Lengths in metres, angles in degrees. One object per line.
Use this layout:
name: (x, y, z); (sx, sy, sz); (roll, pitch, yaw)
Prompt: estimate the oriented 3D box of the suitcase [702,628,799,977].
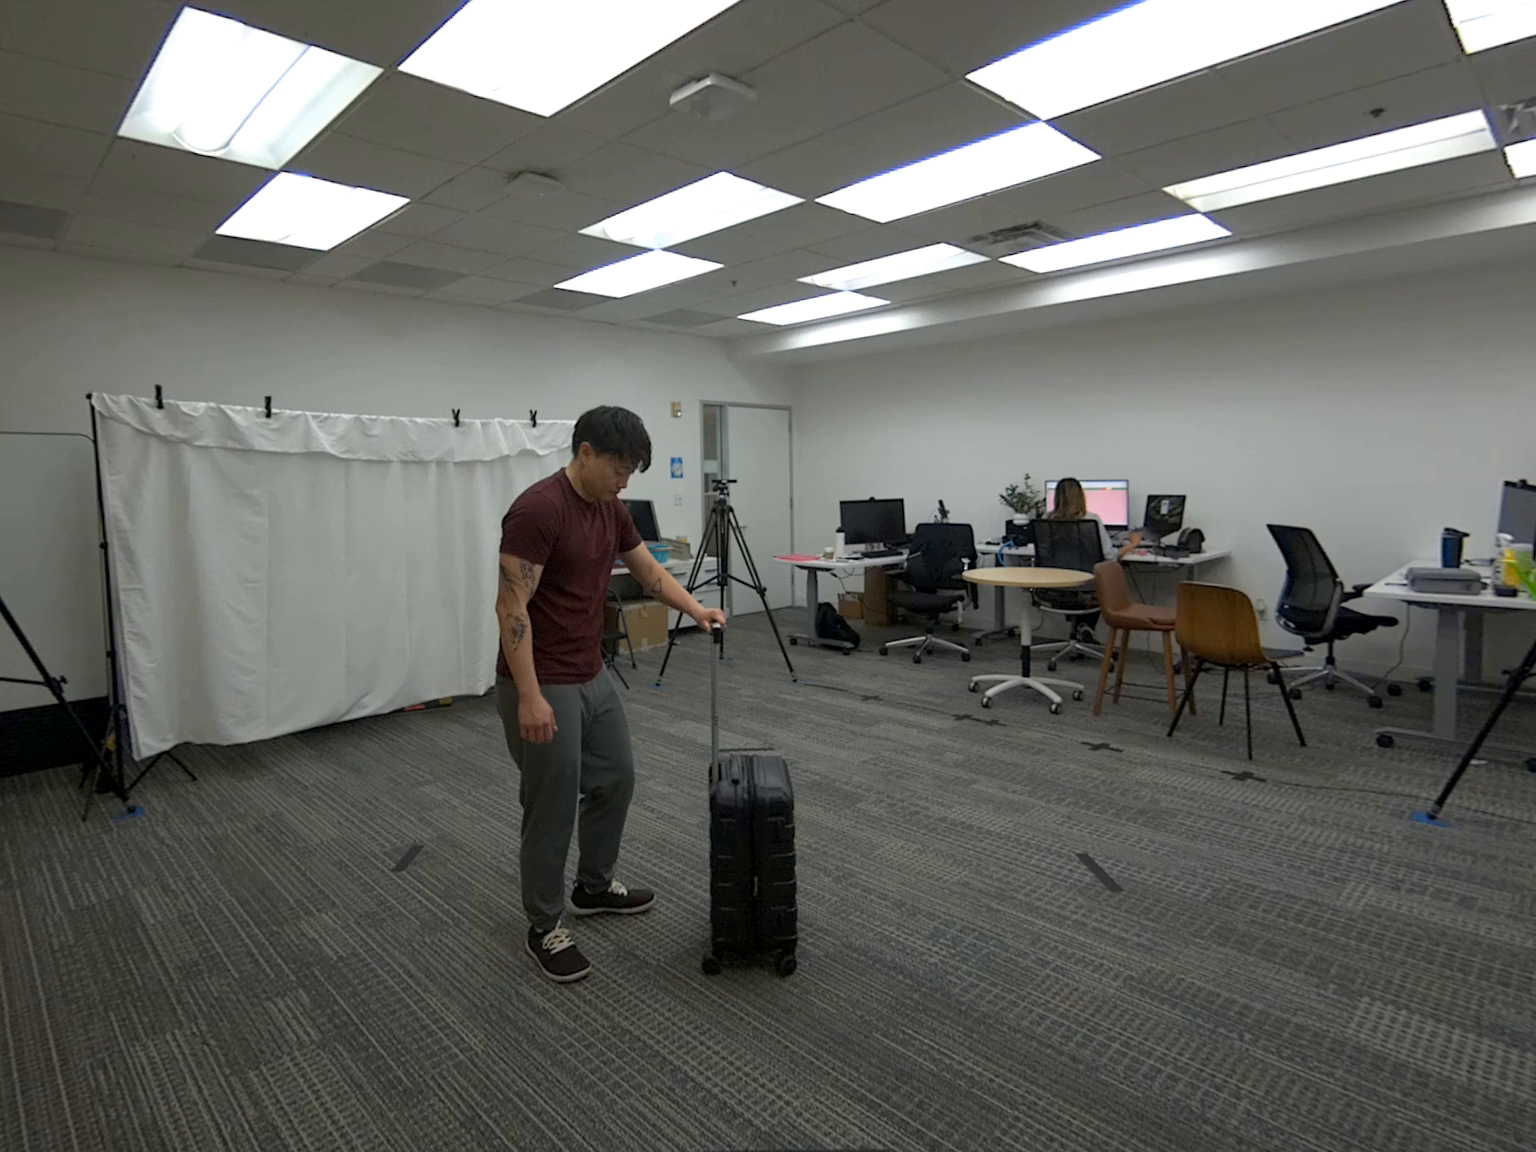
suitcase: (-0.050, 0.638, 2.548); (0.256, 0.975, 0.386); (1, 4, -3)
